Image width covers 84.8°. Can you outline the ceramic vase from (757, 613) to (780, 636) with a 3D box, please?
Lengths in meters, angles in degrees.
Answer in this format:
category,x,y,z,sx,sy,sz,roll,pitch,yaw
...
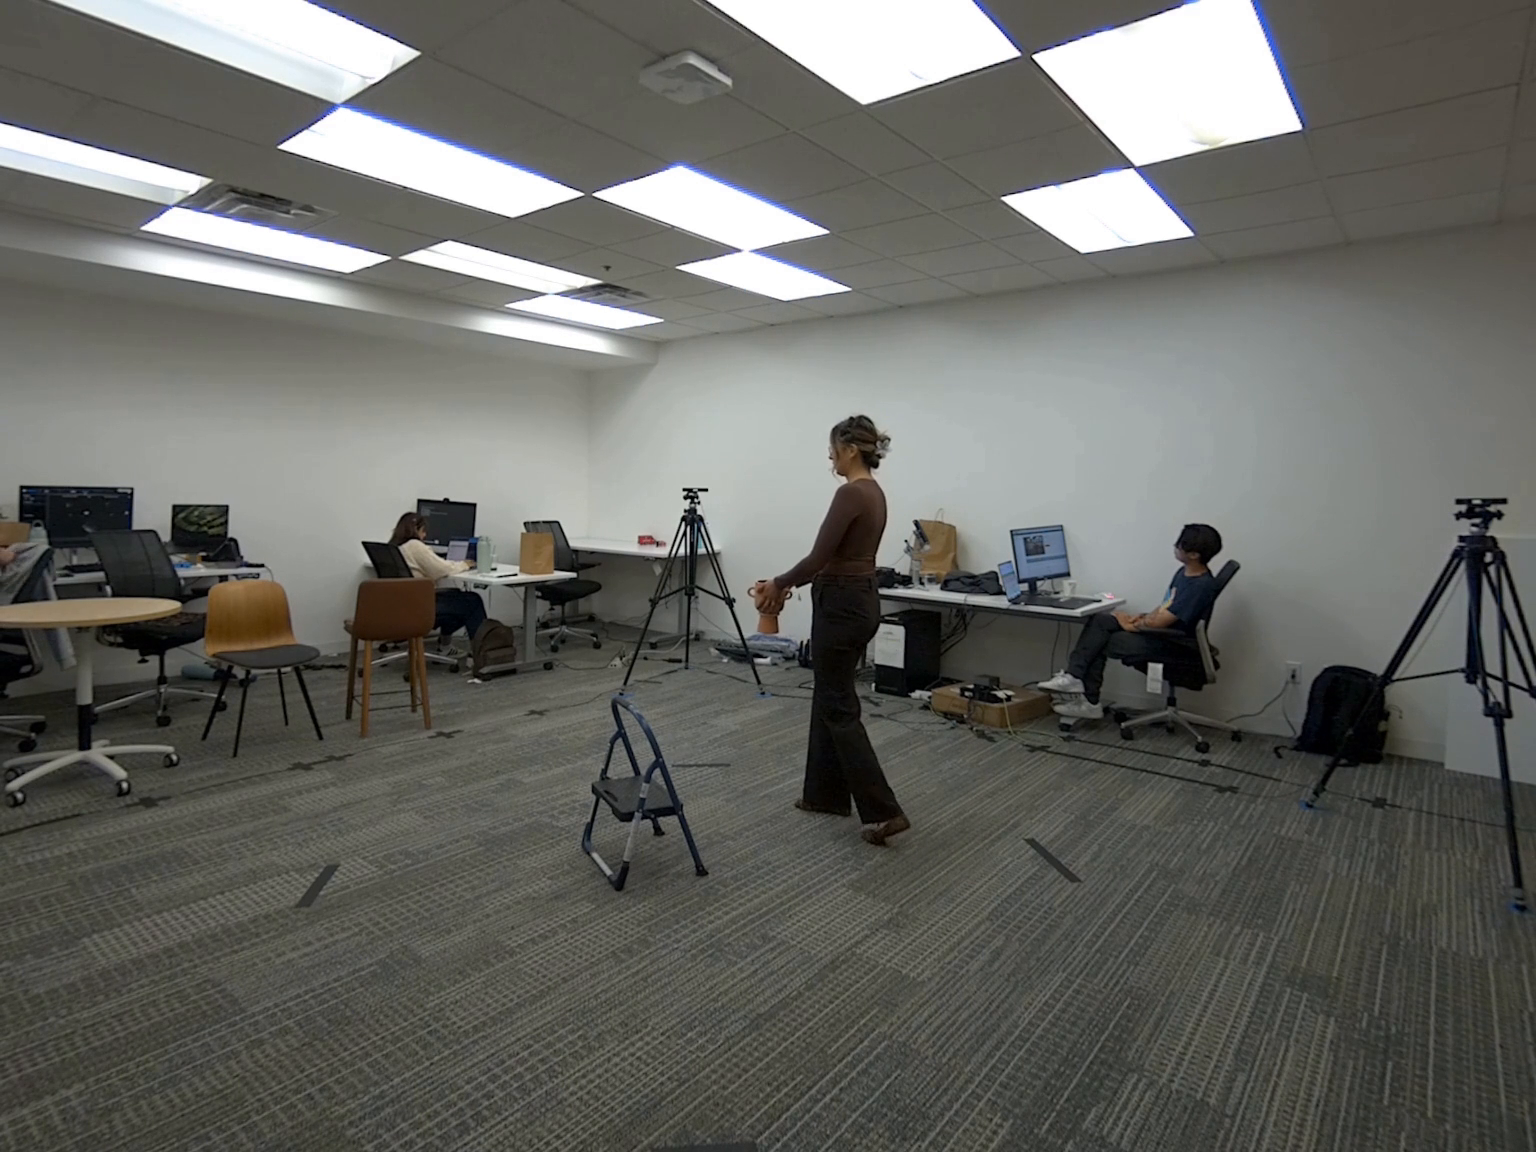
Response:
category,x,y,z,sx,sy,sz,roll,pitch,yaw
ceramic vase,-0.001,0.135,3.704,0.130,0.219,0.164,-2,8,-44
